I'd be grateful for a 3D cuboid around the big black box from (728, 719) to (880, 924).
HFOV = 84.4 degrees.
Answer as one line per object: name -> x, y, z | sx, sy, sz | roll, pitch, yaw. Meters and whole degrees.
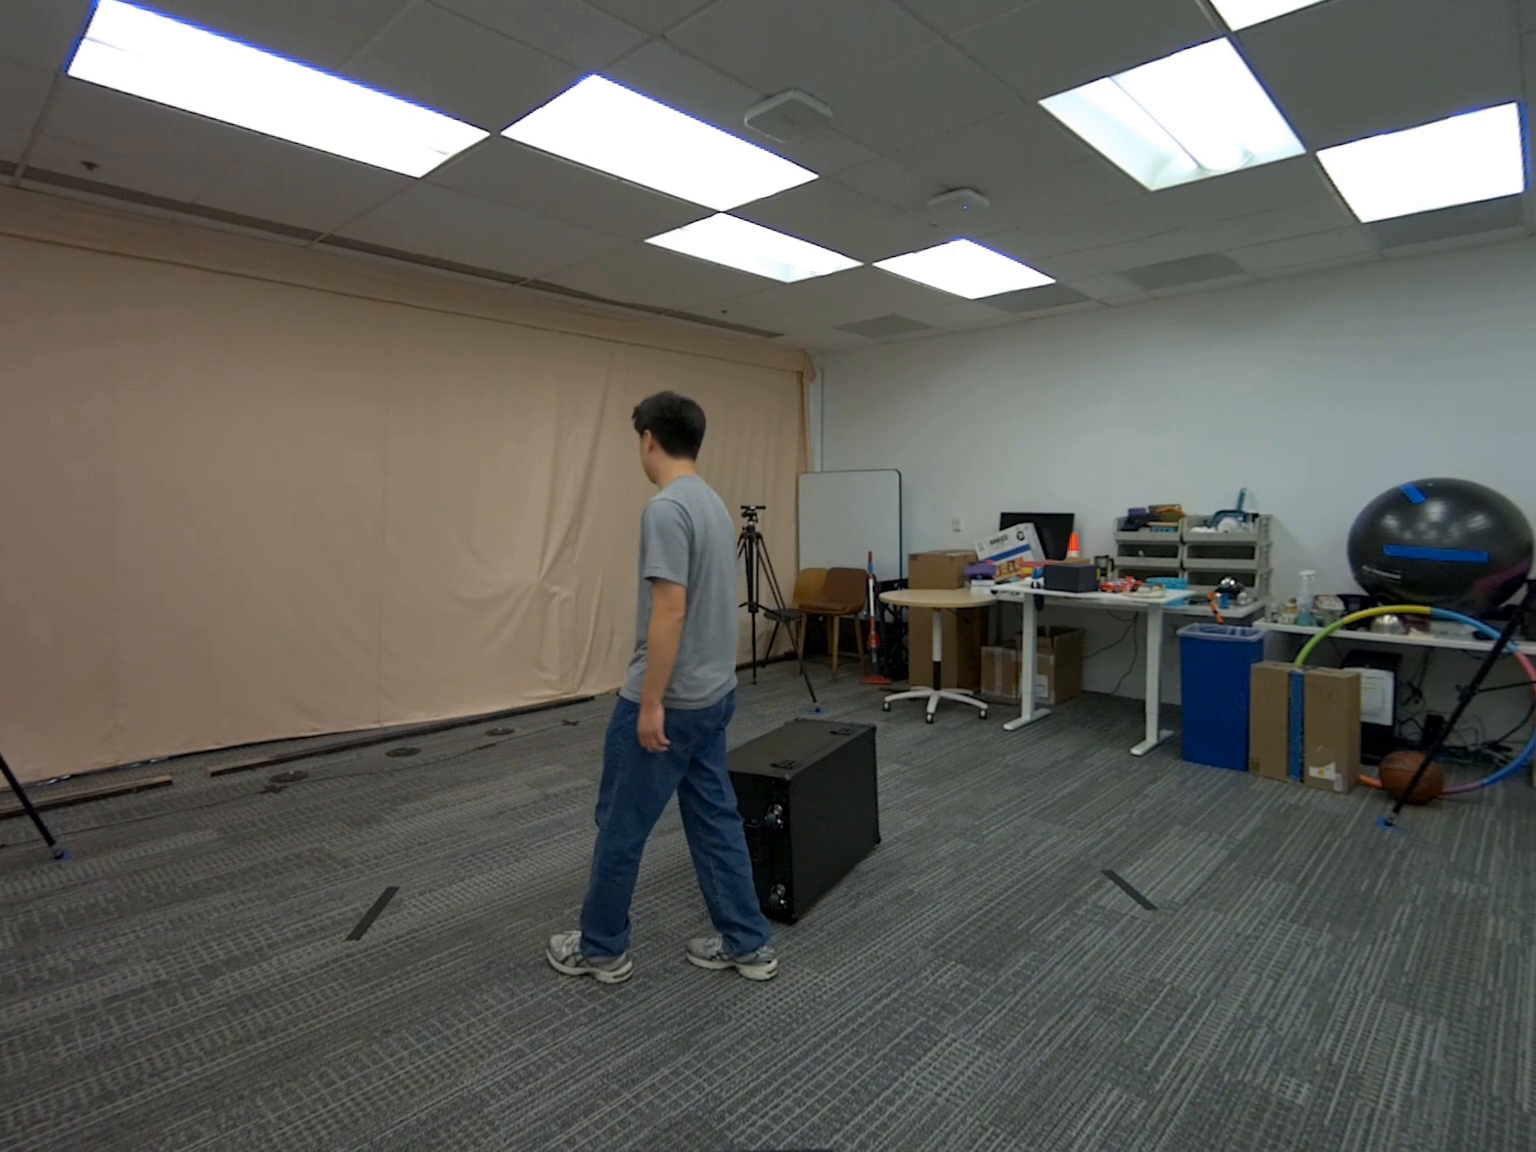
big black box -> 0.087, 0.871, 3.169 | 0.407, 0.520, 0.839 | -1, 3, 29
